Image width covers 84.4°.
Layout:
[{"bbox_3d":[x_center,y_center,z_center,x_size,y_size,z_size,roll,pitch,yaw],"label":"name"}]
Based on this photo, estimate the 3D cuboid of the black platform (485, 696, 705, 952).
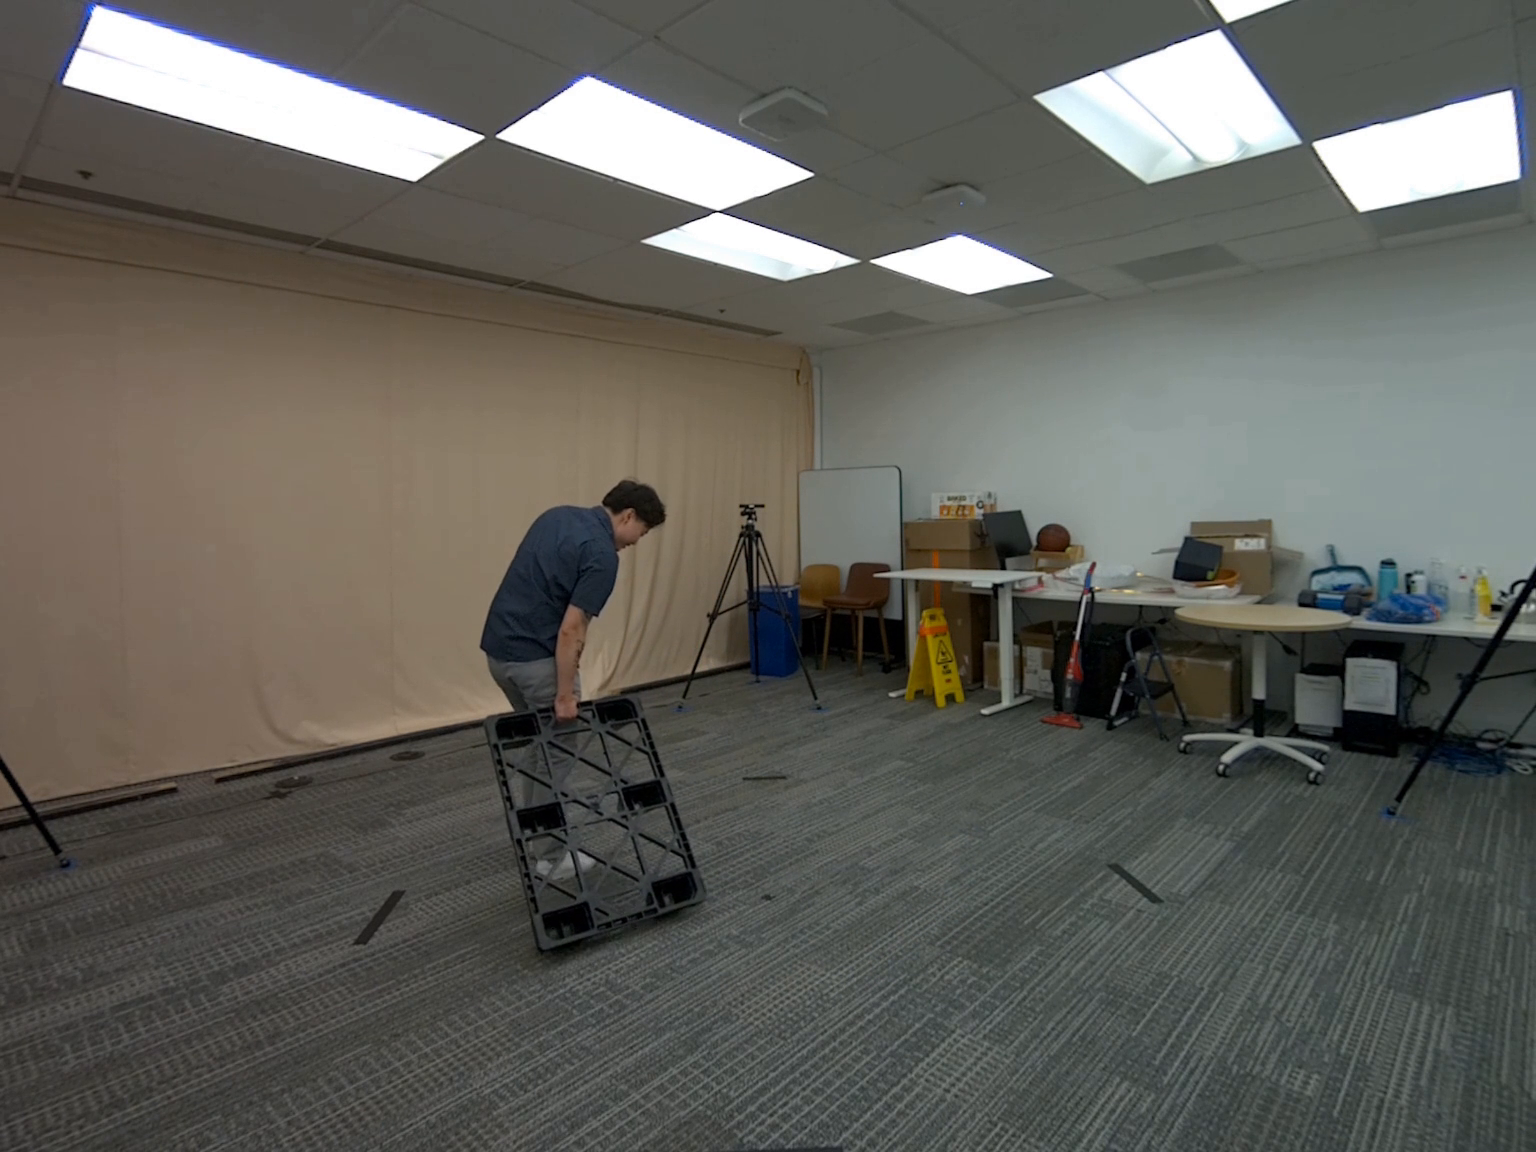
[{"bbox_3d":[-0.625,0.833,2.941,0.589,0.826,0.143,-5,-35,-32],"label":"black platform"}]
